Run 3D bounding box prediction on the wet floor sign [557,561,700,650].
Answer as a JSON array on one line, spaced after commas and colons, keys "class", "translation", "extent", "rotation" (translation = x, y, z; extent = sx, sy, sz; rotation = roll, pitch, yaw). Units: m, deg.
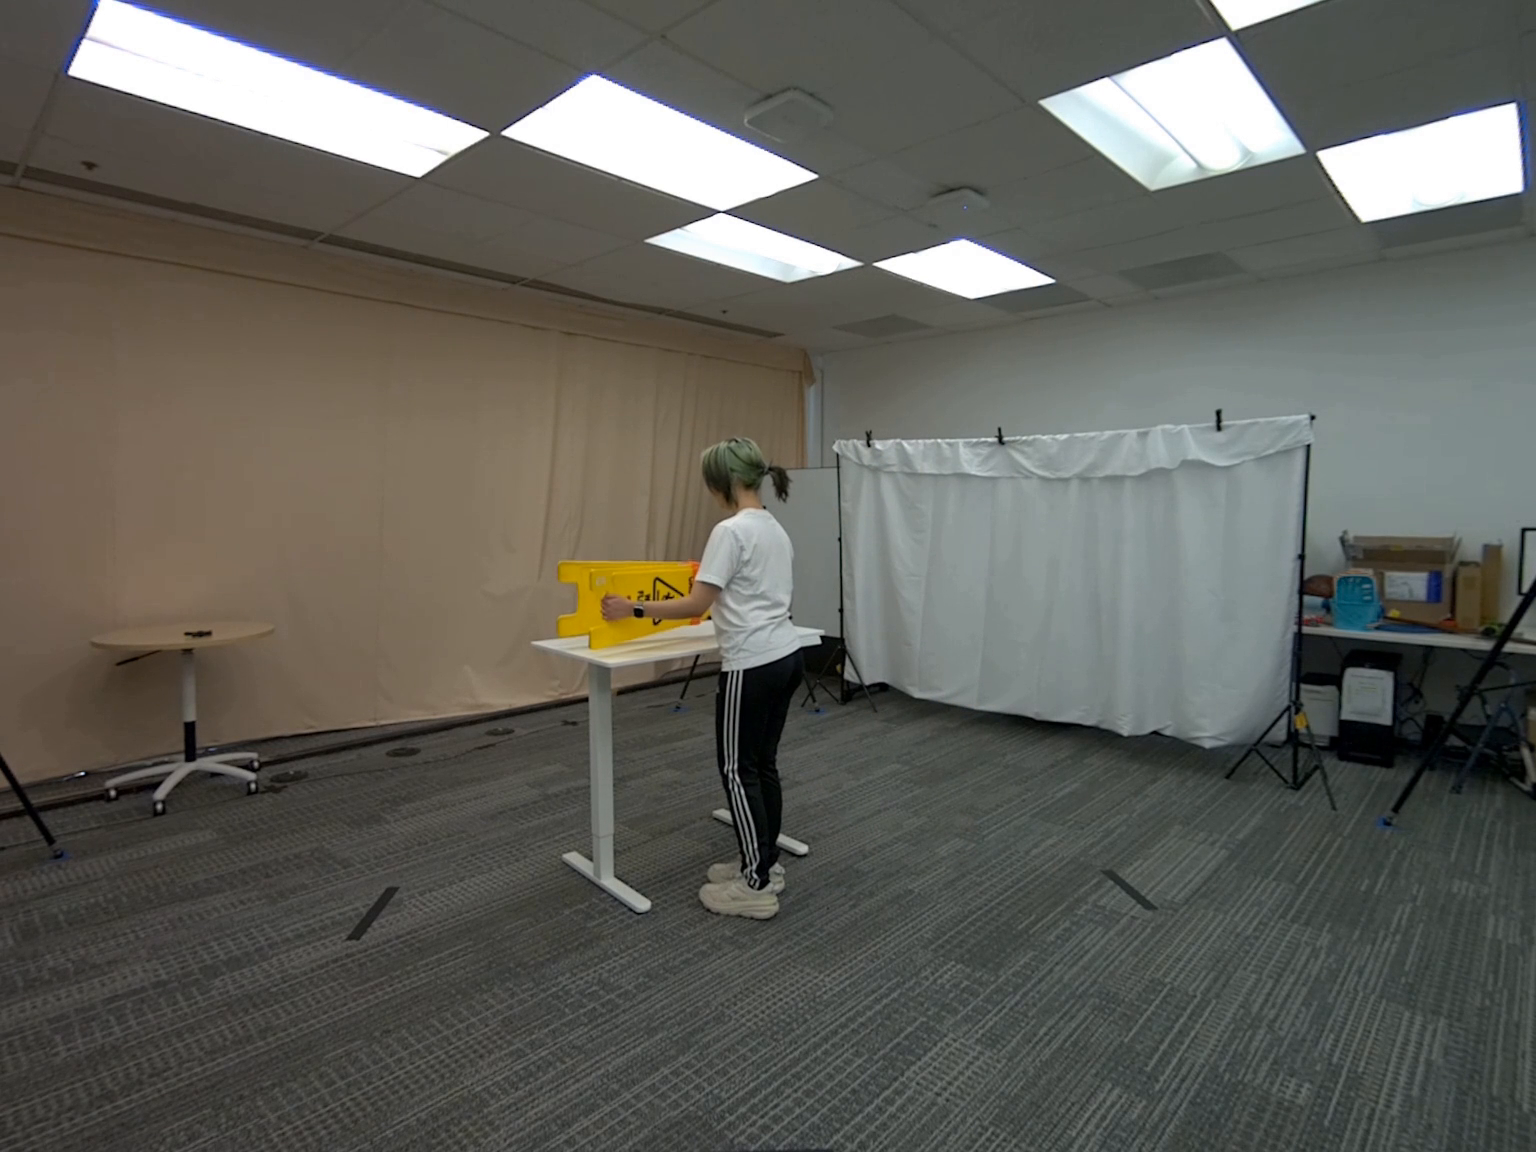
[{"class": "wet floor sign", "translation": [-0.434, 0.083, 3.147], "extent": [0.627, 0.281, 0.300], "rotation": [-5, 10, -39]}]
